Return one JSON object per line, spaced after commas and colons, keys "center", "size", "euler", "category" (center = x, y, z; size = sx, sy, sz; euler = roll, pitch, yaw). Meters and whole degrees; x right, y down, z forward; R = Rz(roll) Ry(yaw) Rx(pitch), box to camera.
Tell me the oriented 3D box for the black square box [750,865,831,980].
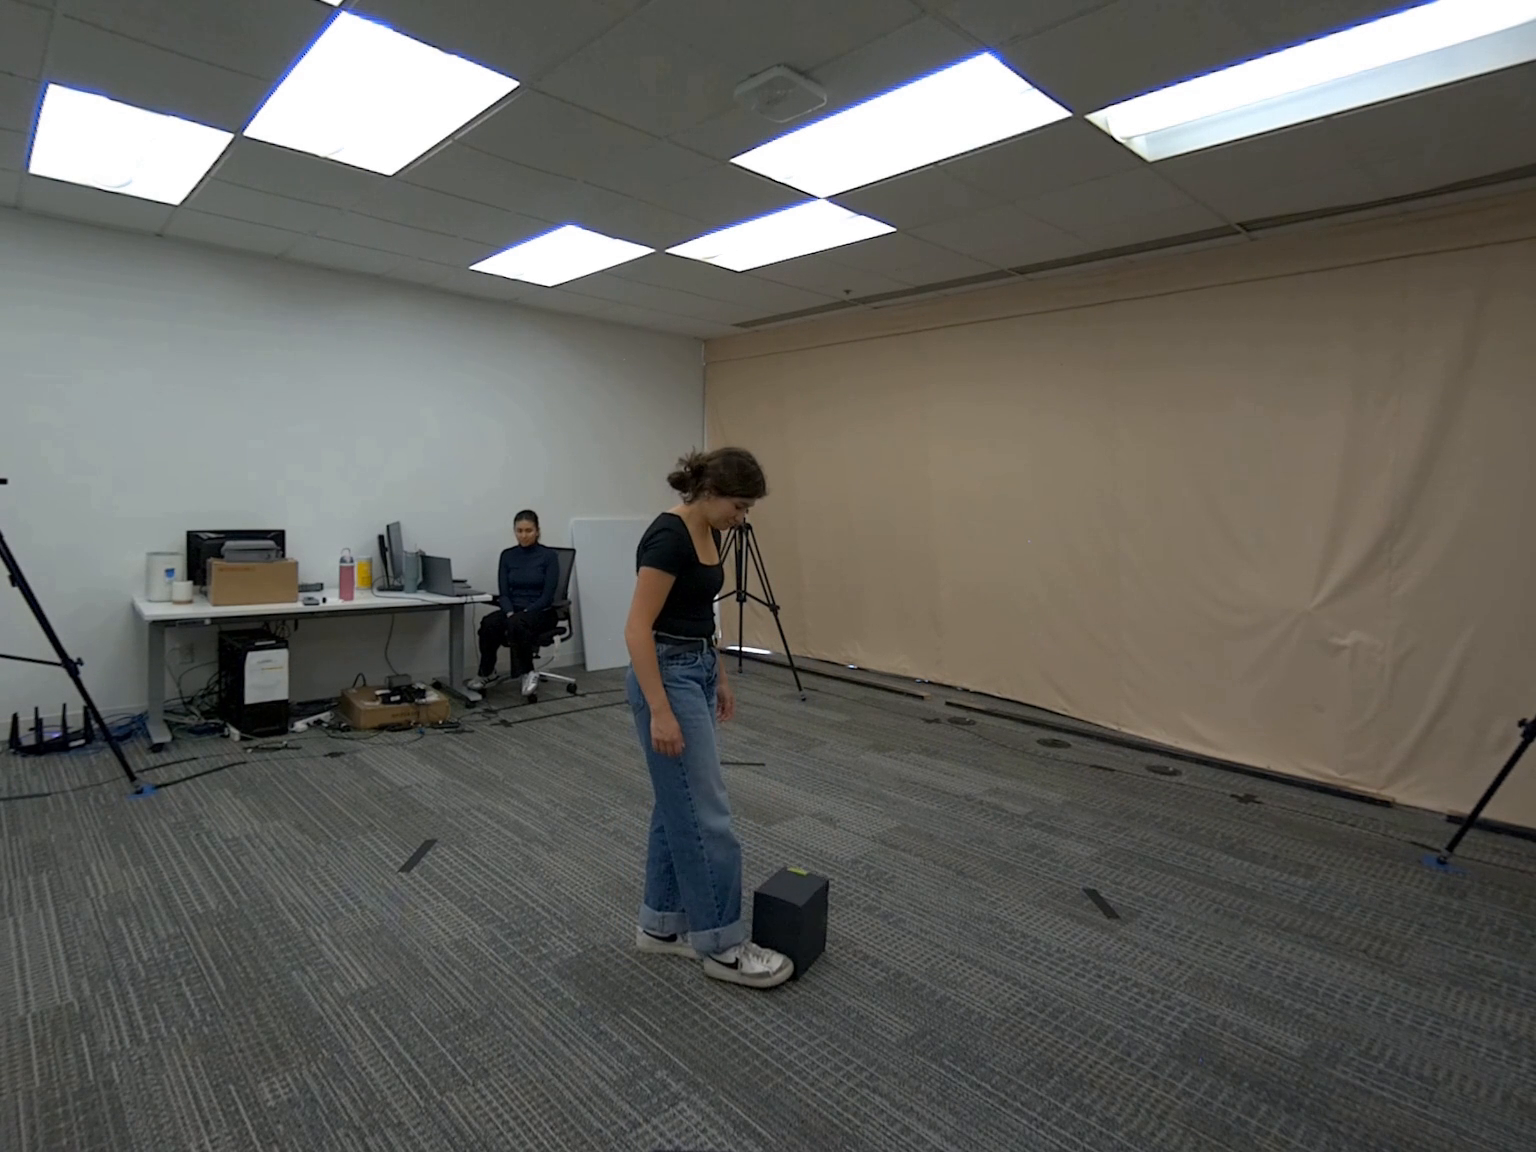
{"center": [0.060, 1.044, 2.543], "size": [0.159, 0.227, 0.213], "euler": [4, 4, 27], "category": "black square box"}
